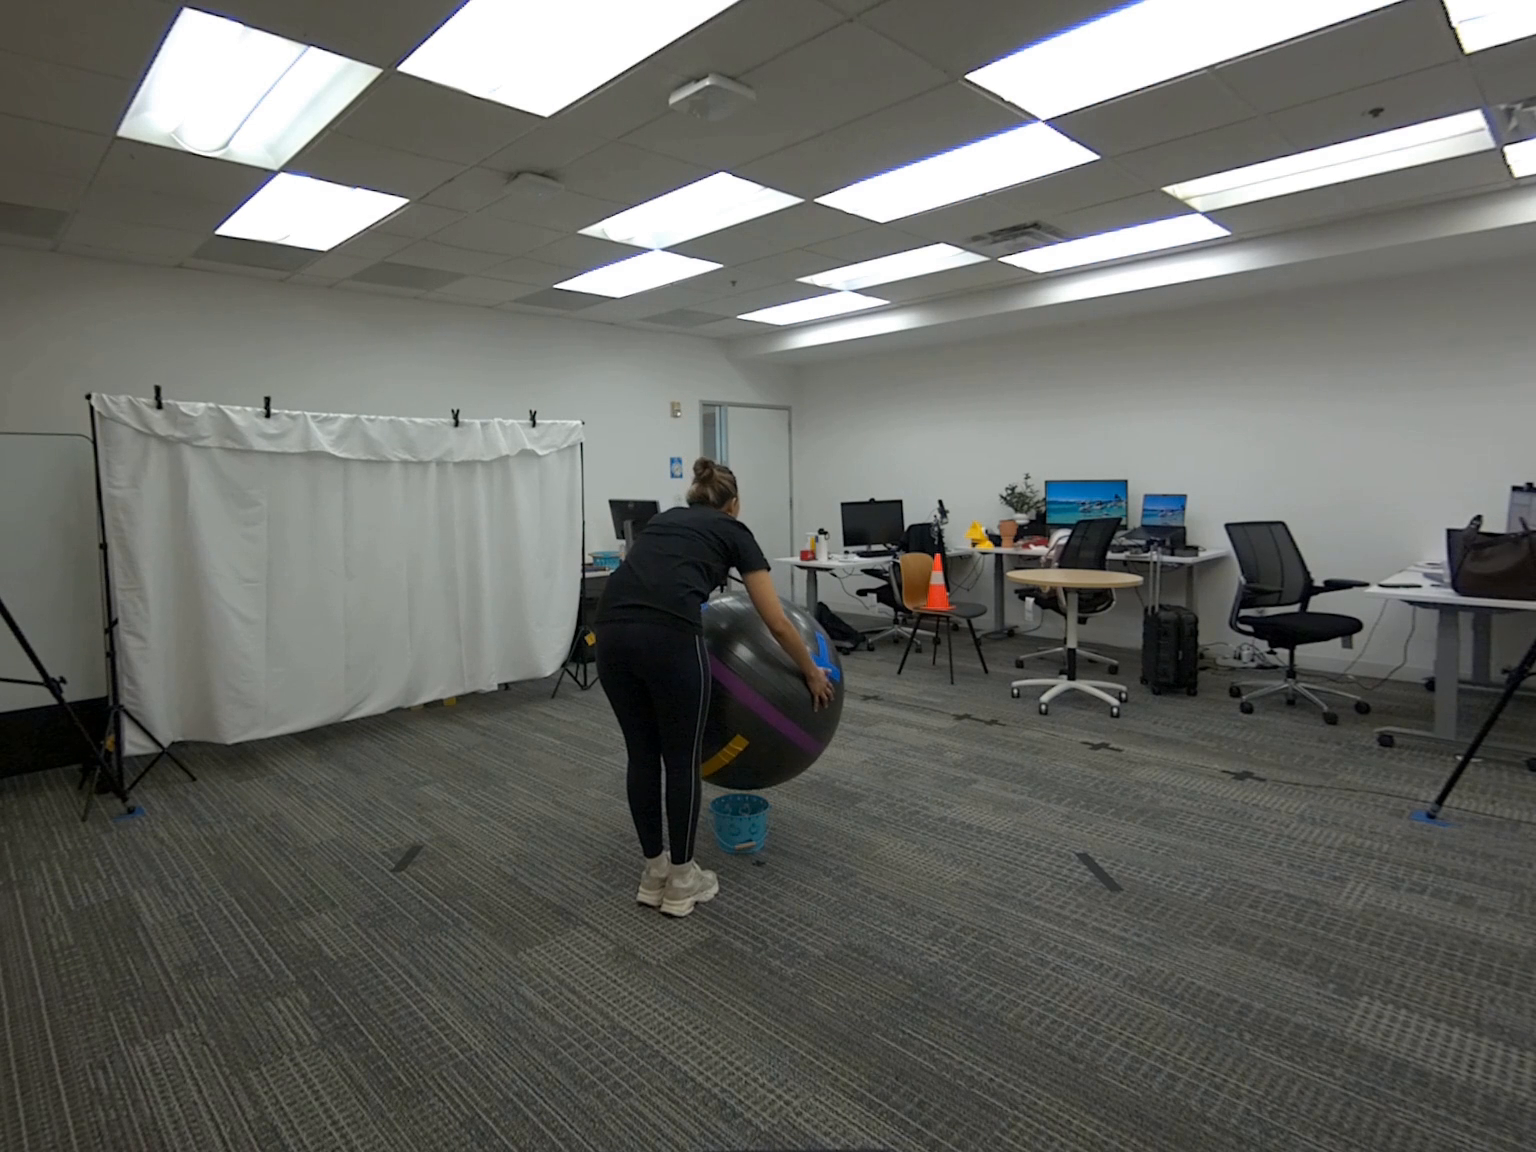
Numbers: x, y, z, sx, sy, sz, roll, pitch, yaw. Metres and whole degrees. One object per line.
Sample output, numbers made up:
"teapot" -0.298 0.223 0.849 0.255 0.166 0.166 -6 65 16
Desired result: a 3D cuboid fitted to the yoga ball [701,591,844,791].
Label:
"yoga ball" -0.087 0.438 3.313 0.757 0.755 0.762 -1 5 -2
